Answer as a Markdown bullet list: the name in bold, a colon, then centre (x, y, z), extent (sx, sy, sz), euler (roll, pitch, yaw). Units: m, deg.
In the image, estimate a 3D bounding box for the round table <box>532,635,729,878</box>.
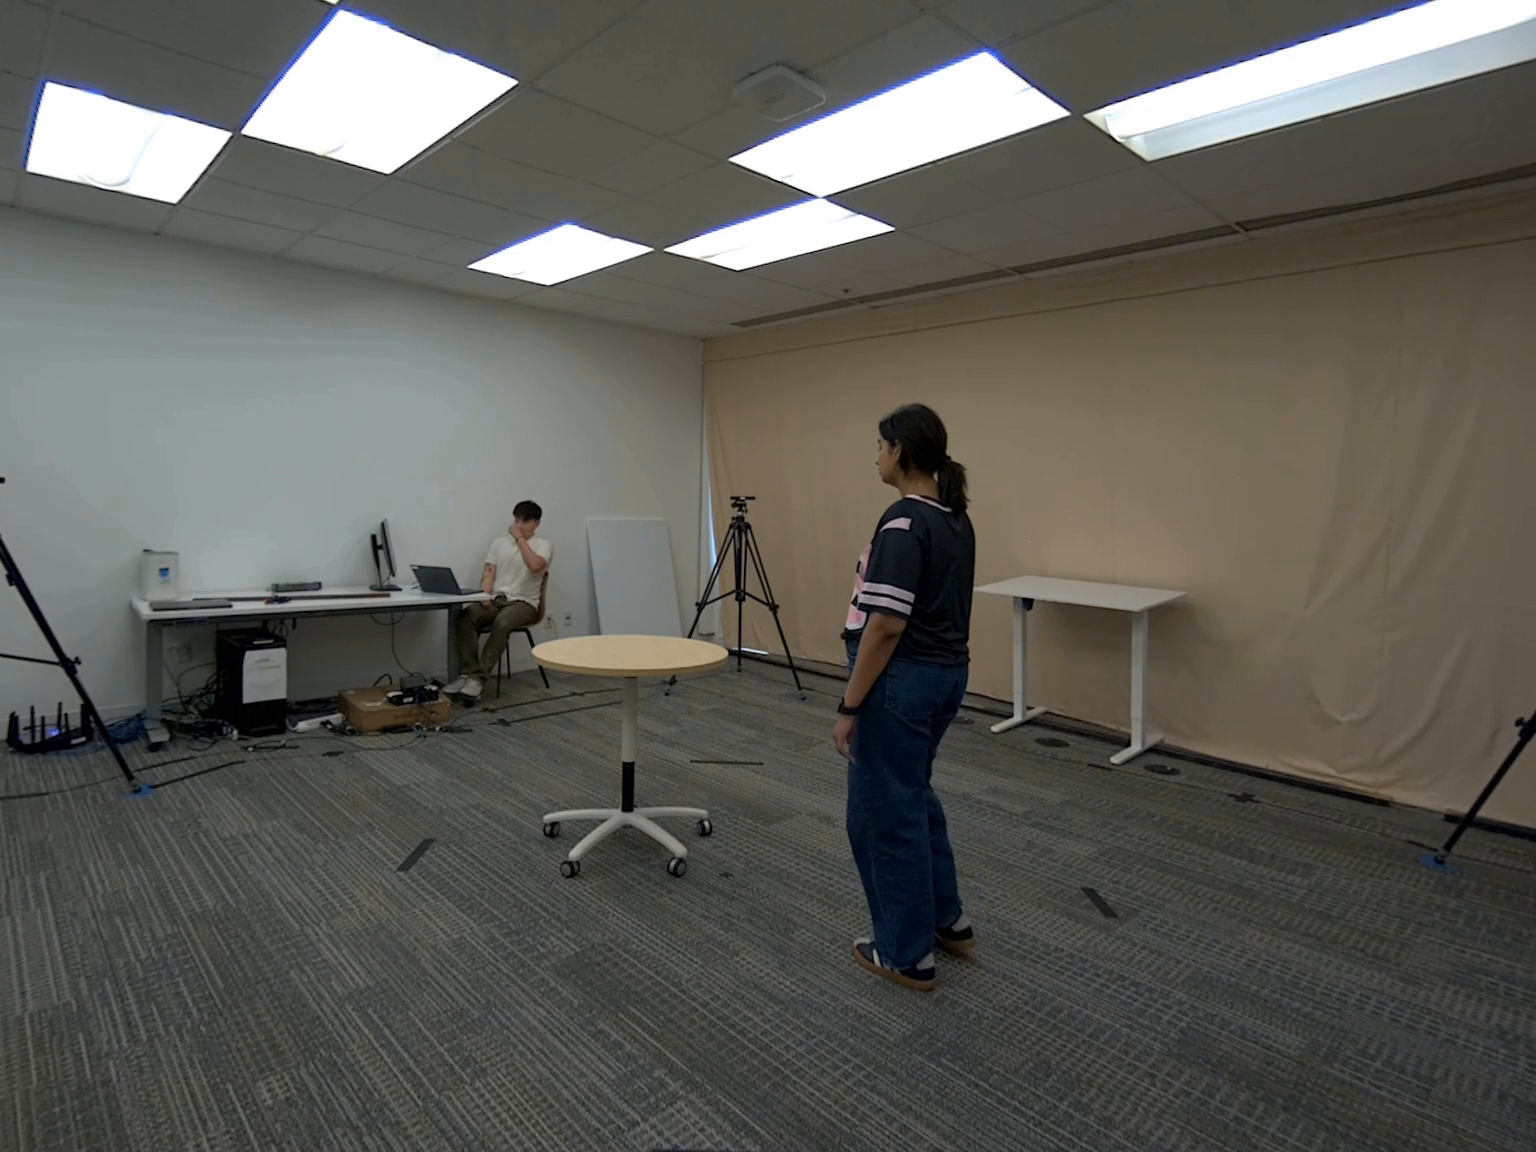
- **round table**: centre (-0.550, 0.683, 3.316), extent (0.784, 0.785, 0.787), euler (1, 3, -1)
